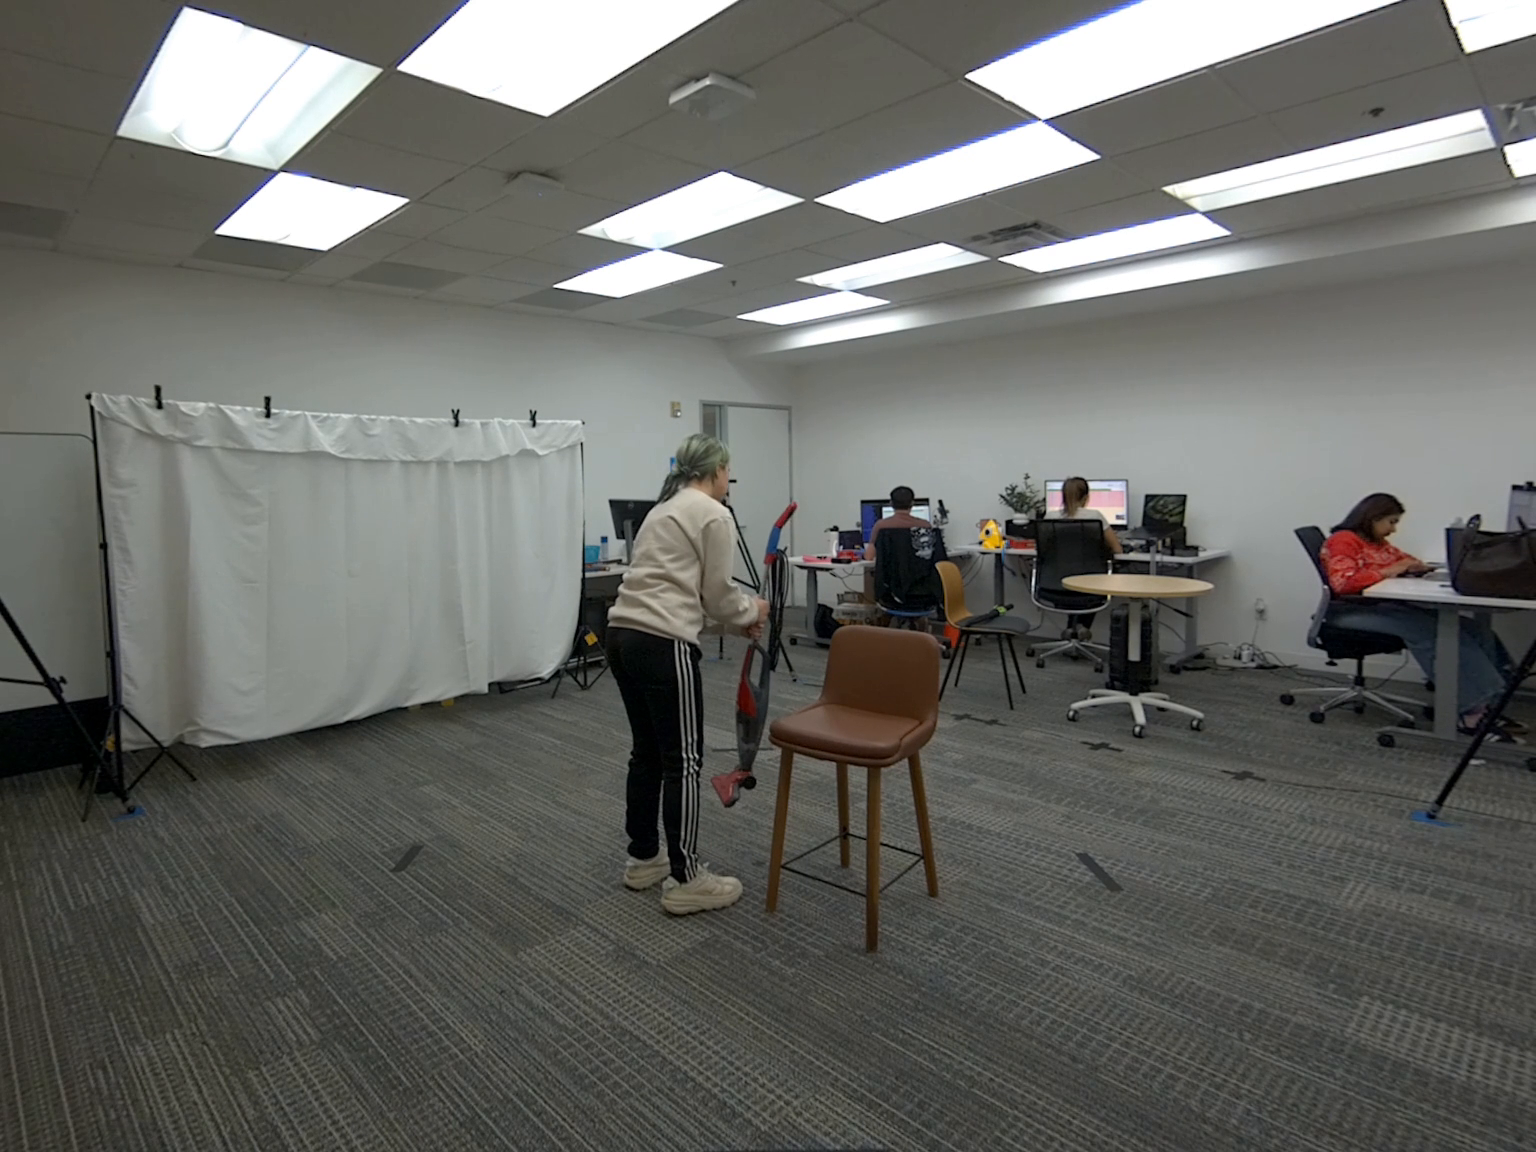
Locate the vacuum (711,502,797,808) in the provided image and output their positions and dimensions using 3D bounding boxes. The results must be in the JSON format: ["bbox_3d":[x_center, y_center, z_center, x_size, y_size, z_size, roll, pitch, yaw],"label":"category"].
[{"bbox_3d":[-0.012,0.263,3.110,0.140,1.048,0.259,12,2,-23],"label":"vacuum"}]
